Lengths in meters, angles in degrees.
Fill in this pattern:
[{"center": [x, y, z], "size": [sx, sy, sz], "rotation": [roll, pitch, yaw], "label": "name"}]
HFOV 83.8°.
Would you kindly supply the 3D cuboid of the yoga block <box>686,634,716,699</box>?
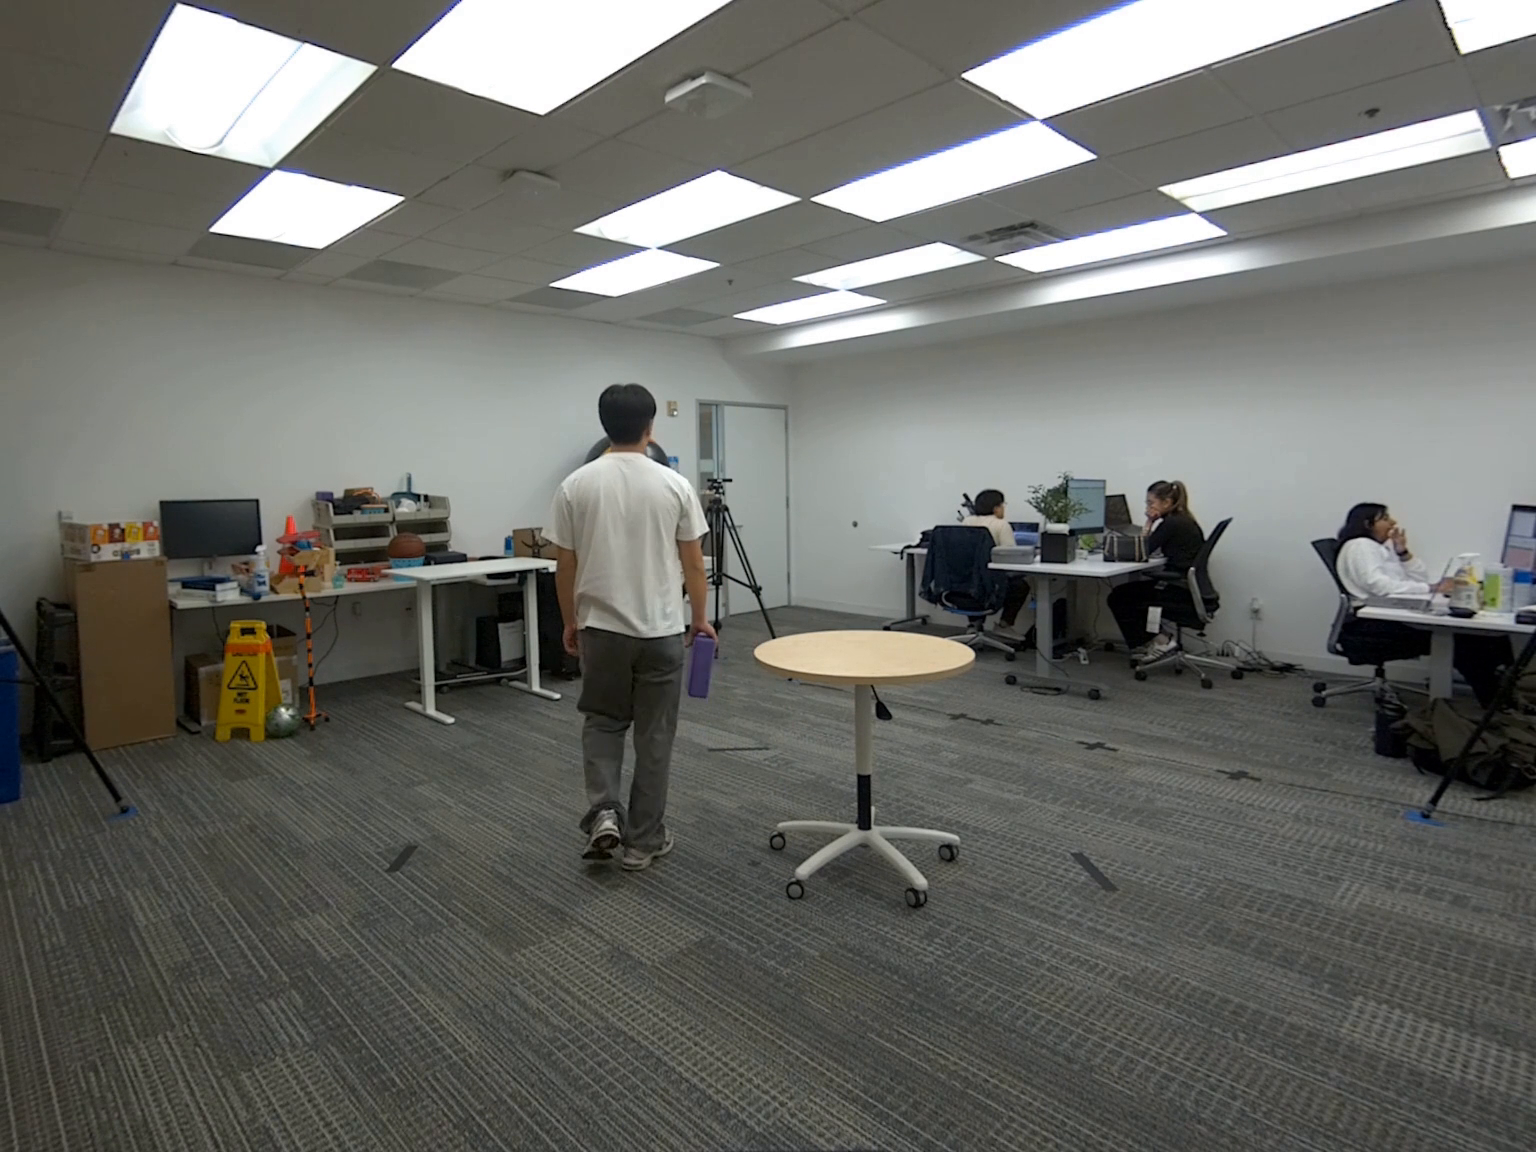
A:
[{"center": [-0.264, 0.351, 3.293], "size": [0.076, 0.229, 0.149], "rotation": [8, 1, -3], "label": "yoga block"}]
